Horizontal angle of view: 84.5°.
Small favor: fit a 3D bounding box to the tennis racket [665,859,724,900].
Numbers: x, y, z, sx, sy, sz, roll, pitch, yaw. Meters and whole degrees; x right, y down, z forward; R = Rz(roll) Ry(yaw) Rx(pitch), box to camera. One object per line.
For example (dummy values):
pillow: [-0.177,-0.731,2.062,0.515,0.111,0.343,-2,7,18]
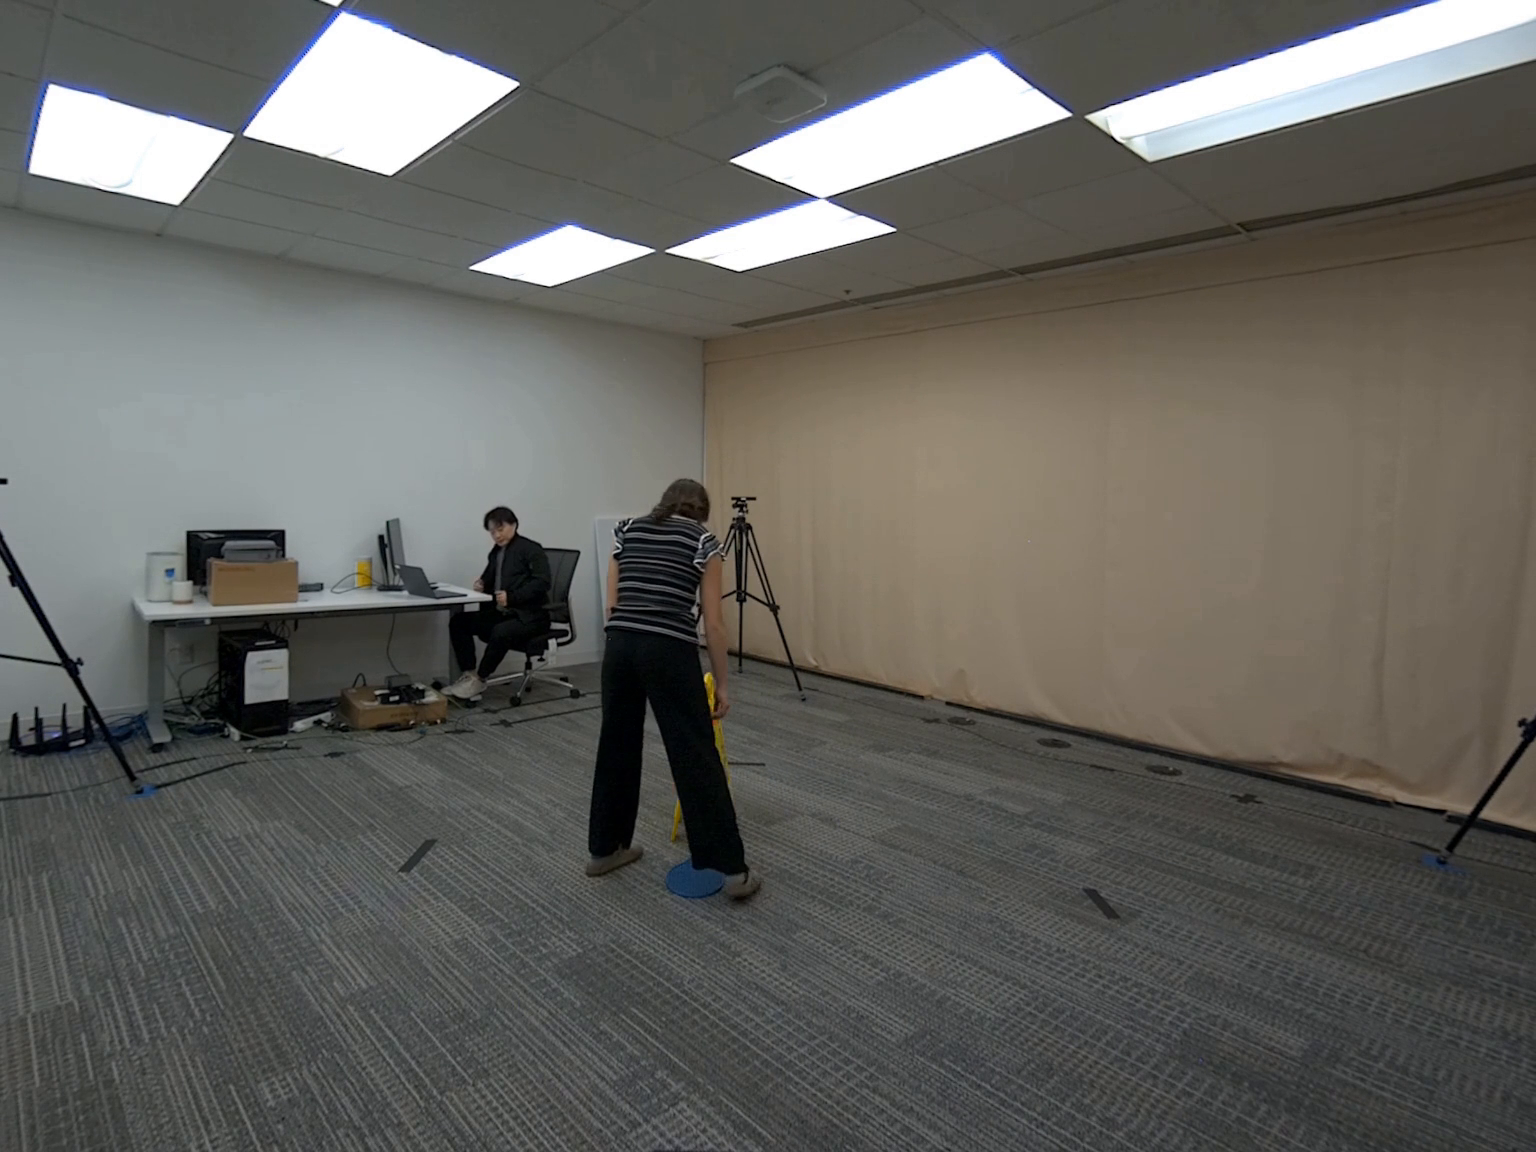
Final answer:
tennis racket: [-0.273,1.084,3.137,0.214,0.031,0.434,1,7,1]
